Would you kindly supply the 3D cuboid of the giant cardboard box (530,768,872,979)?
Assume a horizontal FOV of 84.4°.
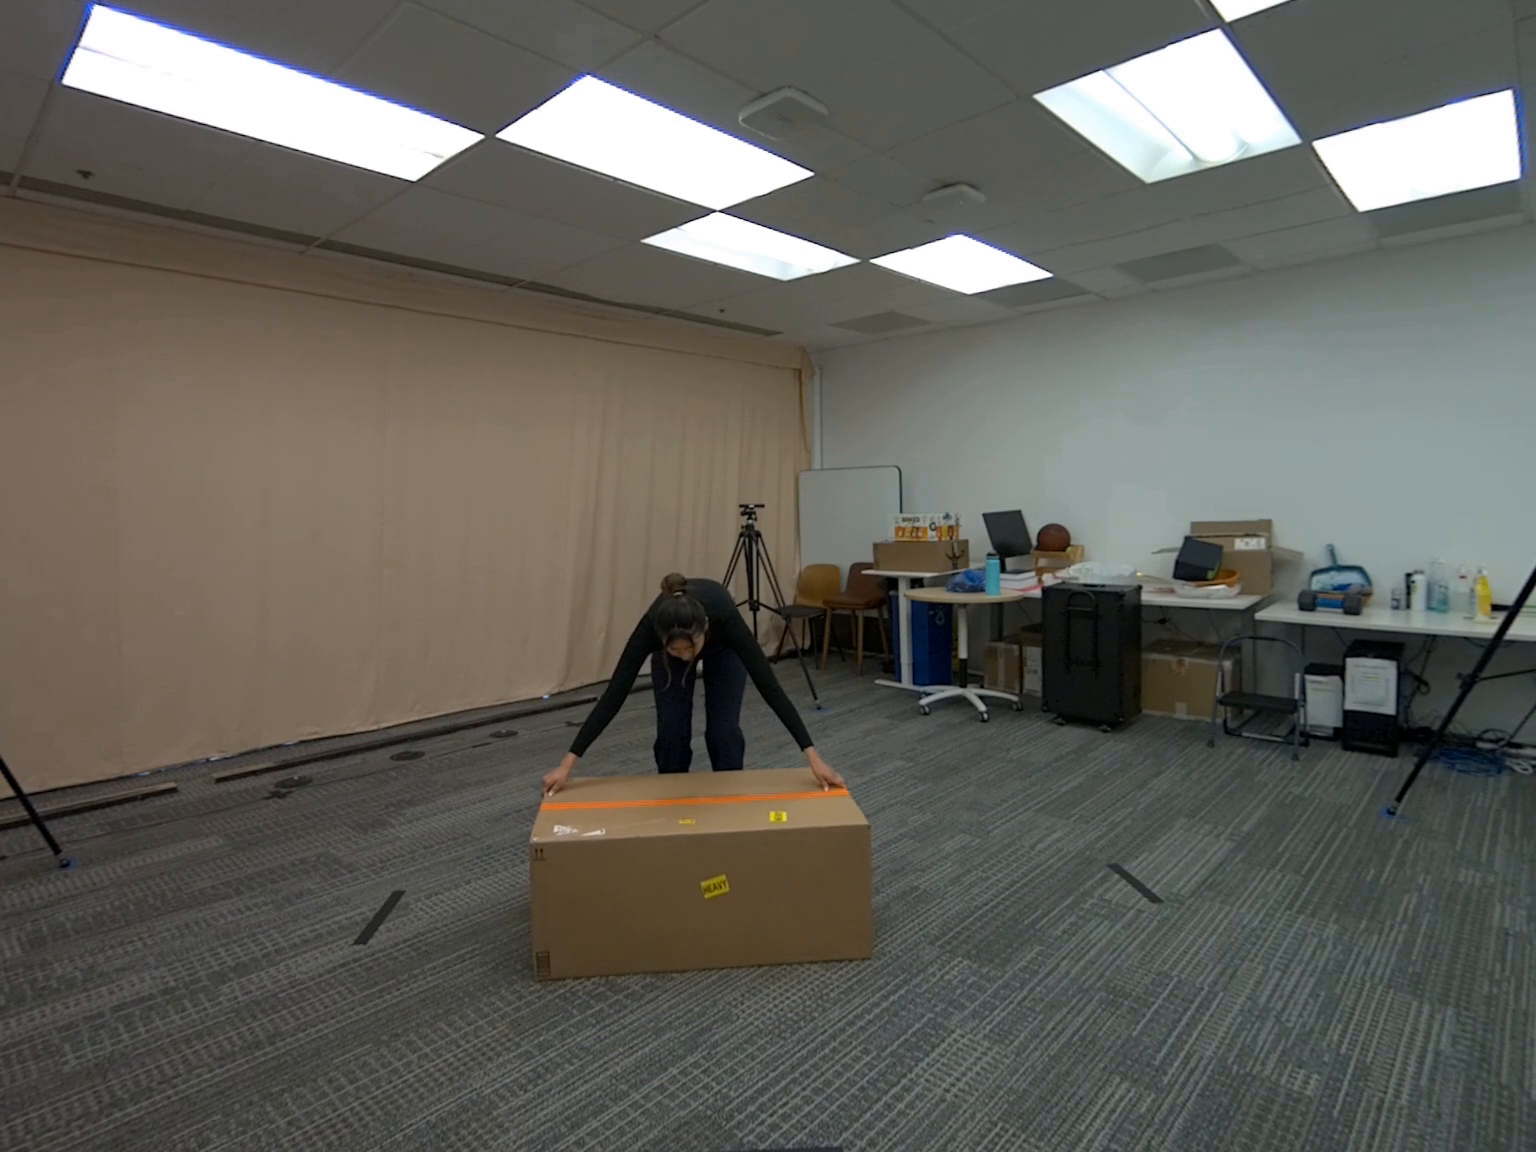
[{"bbox_3d":[-0.232,0.945,2.791,1.020,0.425,0.582,-2,4,-6],"label":"giant cardboard box"}]
